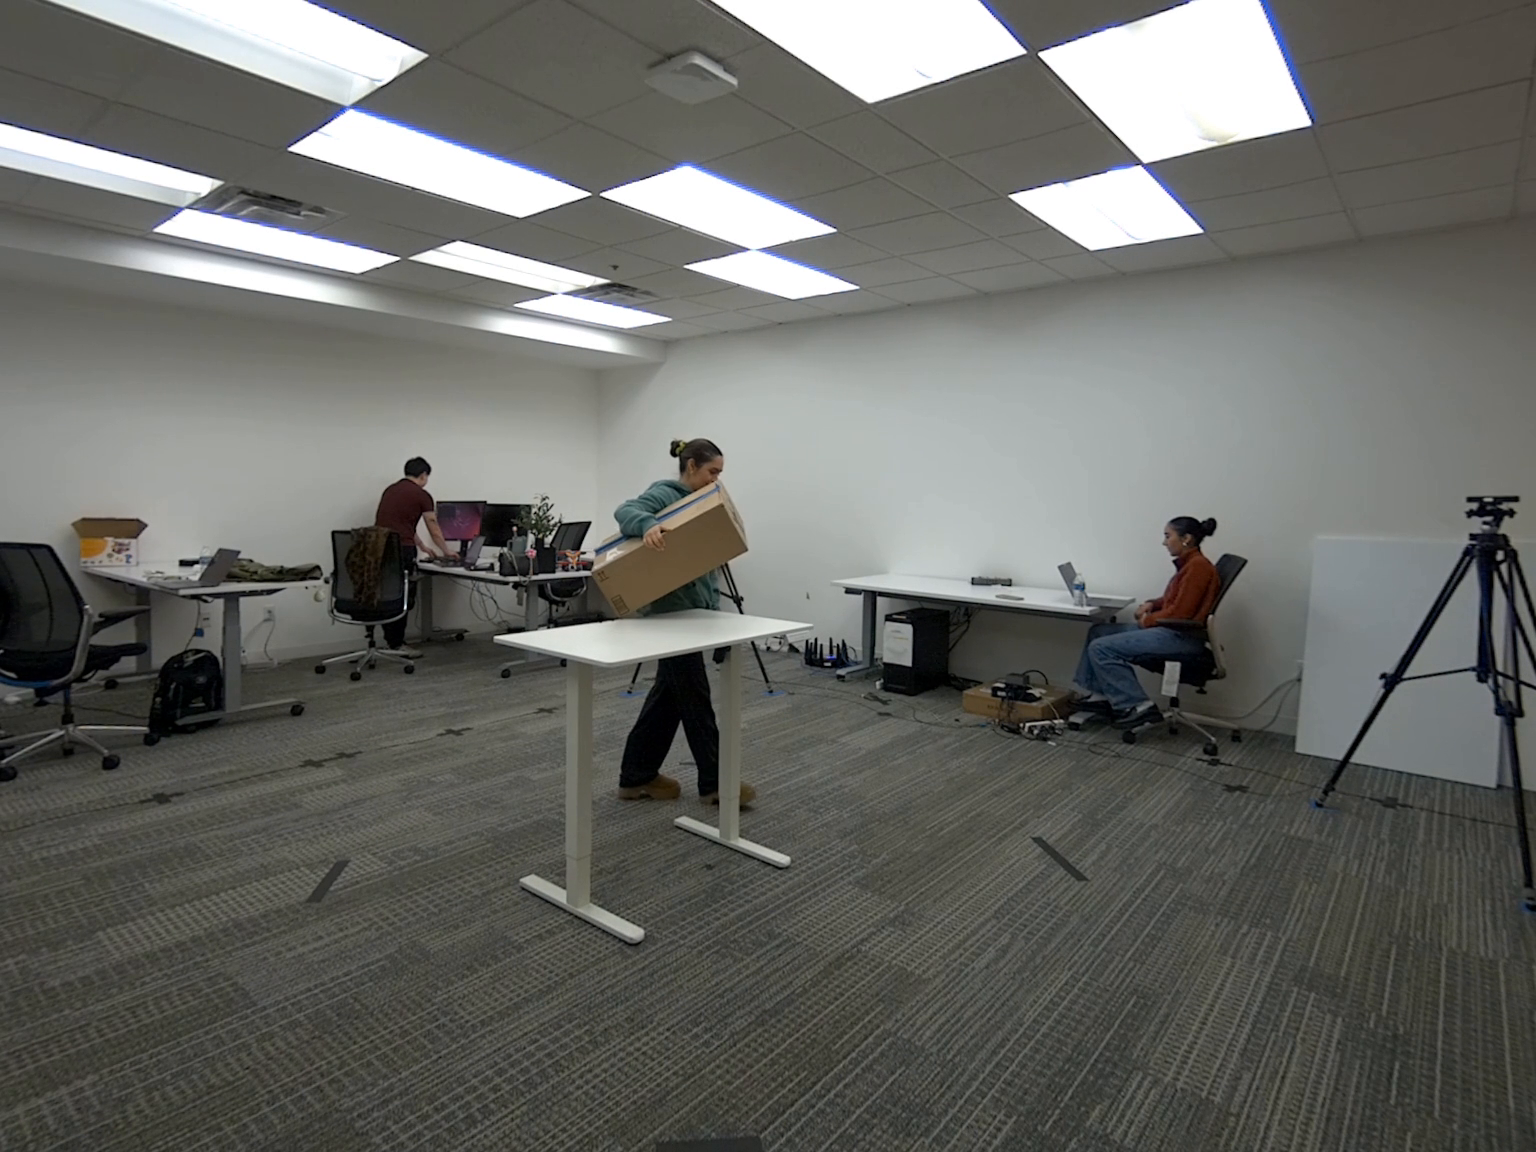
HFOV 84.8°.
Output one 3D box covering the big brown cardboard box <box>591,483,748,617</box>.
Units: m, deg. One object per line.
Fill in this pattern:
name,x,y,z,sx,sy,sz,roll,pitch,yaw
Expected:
big brown cardboard box,-0.400,-0.124,3.395,0.590,0.228,0.426,-27,18,5
